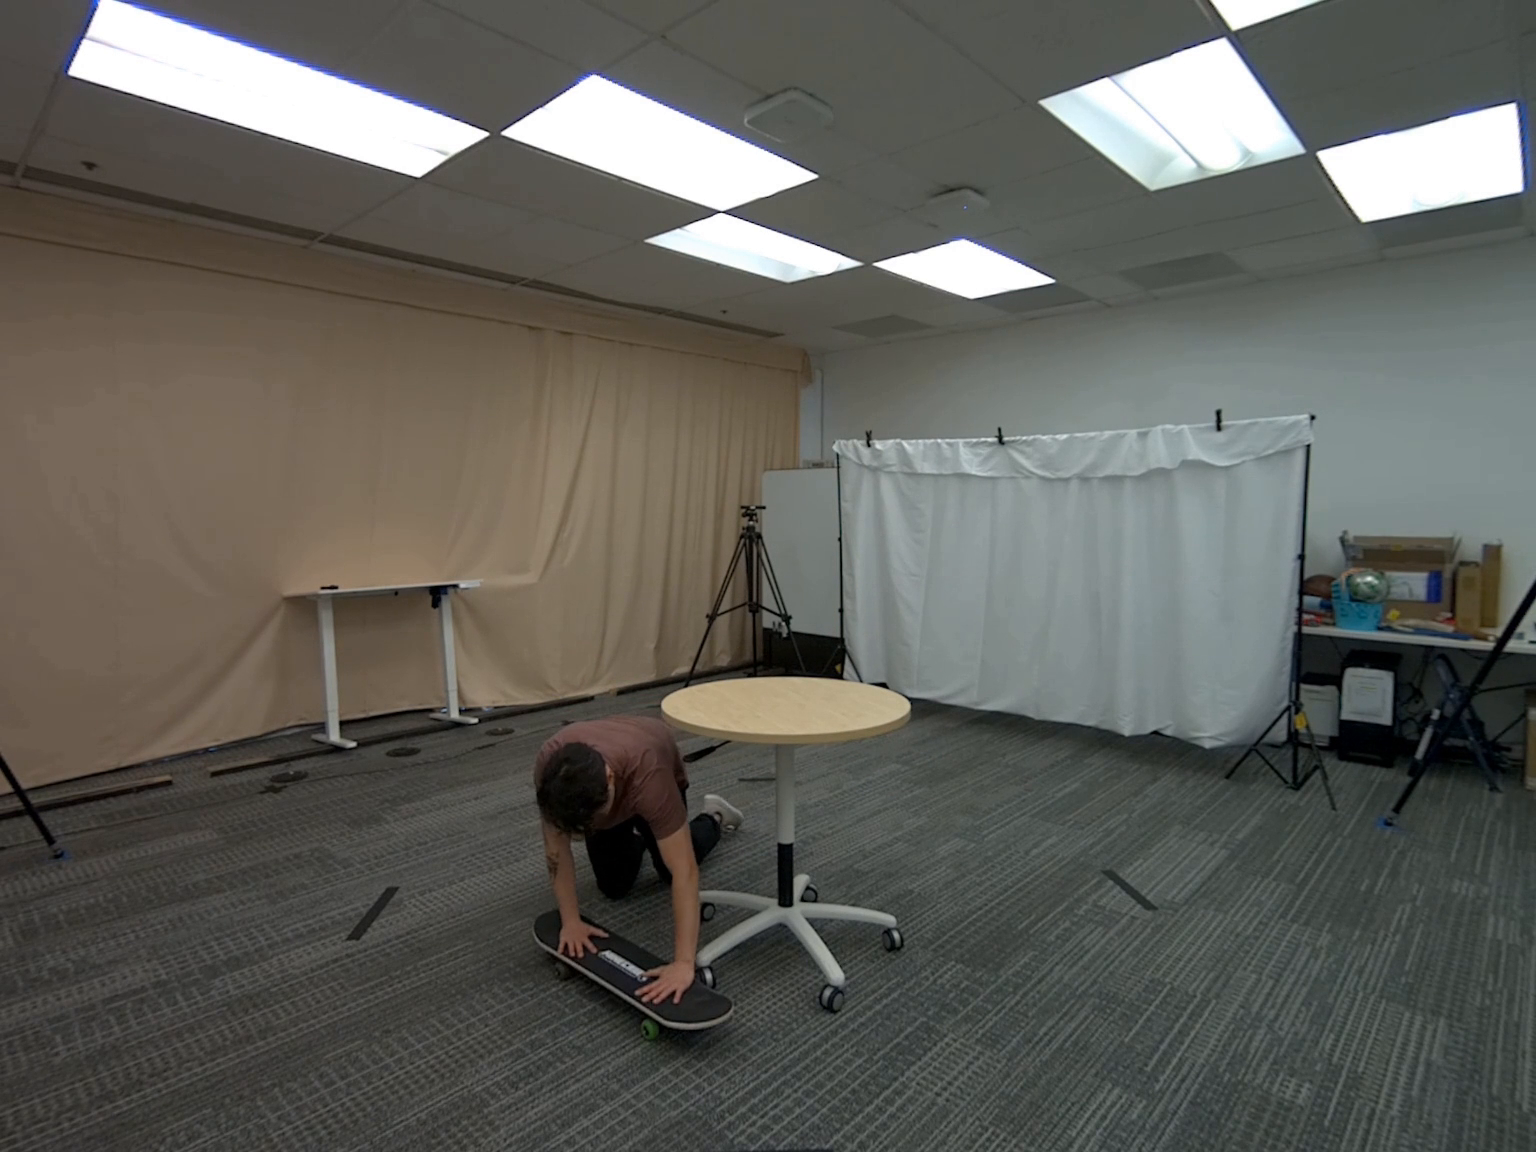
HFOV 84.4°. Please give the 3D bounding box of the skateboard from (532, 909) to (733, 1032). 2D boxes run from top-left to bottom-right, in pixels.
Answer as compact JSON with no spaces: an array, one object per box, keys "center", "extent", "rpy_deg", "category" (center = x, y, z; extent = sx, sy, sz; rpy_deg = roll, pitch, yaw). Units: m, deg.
[{"center":[-0.399,1.130,2.400],"extent":[0.812,0.110,0.187],"rpy_deg":[4,6,44],"category":"skateboard"}]
